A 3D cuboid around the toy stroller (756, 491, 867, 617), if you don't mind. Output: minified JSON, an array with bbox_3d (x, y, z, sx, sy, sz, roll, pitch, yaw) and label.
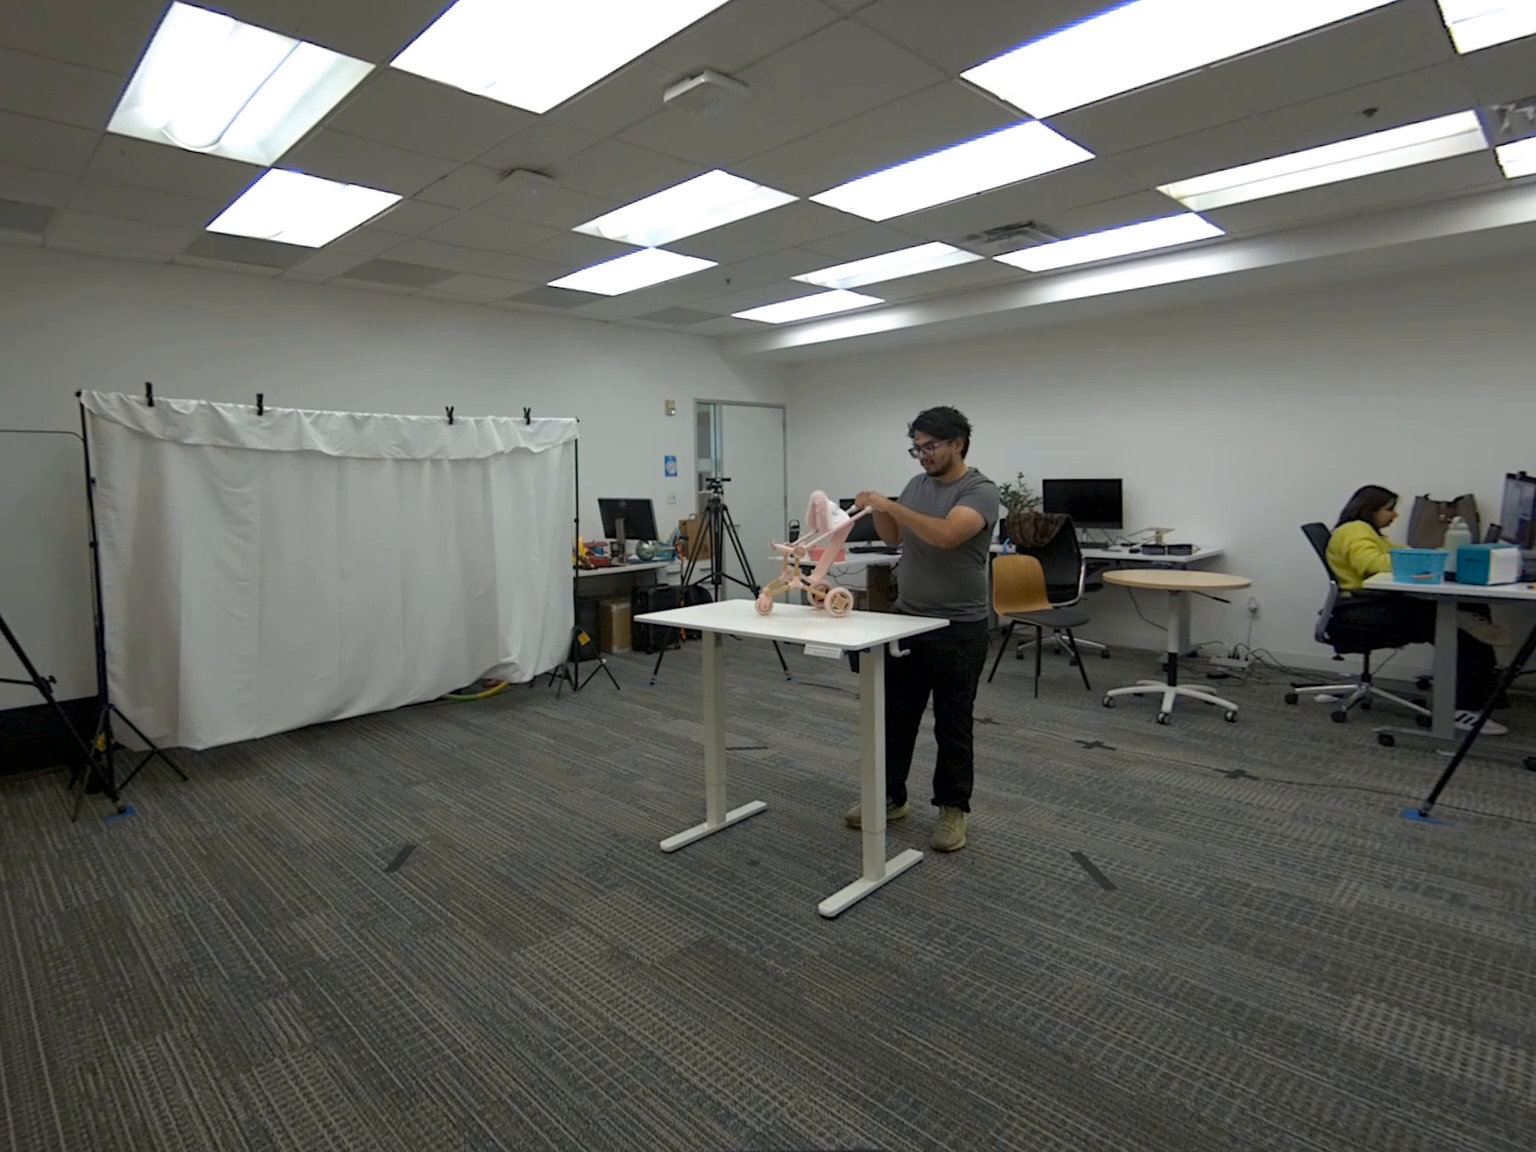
[{"bbox_3d":[0.166,-0.082,3.221,0.339,0.534,0.284,14,1,-7],"label":"toy stroller"}]
